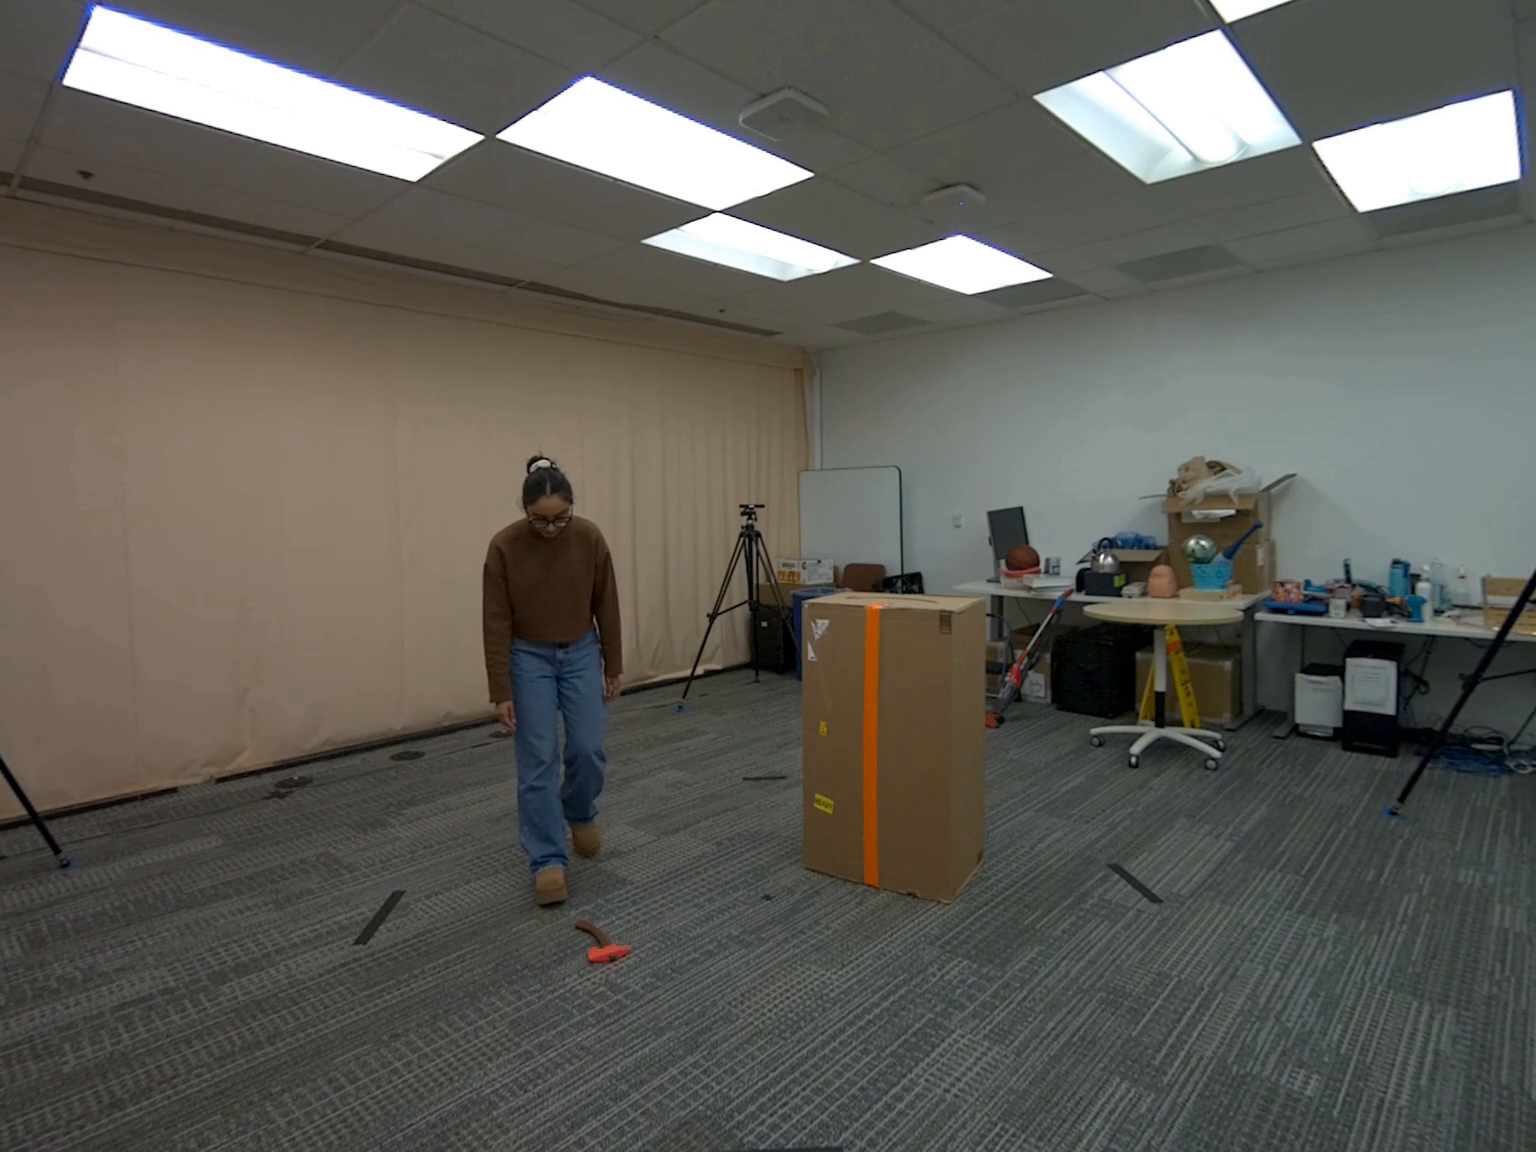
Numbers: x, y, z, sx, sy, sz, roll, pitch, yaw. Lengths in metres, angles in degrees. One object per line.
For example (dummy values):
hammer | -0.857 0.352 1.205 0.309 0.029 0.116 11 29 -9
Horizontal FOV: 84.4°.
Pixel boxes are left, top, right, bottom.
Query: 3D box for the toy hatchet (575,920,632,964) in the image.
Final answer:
toy hatchet | -0.563 1.170 2.675 0.279 0.029 0.127 1 6 45
